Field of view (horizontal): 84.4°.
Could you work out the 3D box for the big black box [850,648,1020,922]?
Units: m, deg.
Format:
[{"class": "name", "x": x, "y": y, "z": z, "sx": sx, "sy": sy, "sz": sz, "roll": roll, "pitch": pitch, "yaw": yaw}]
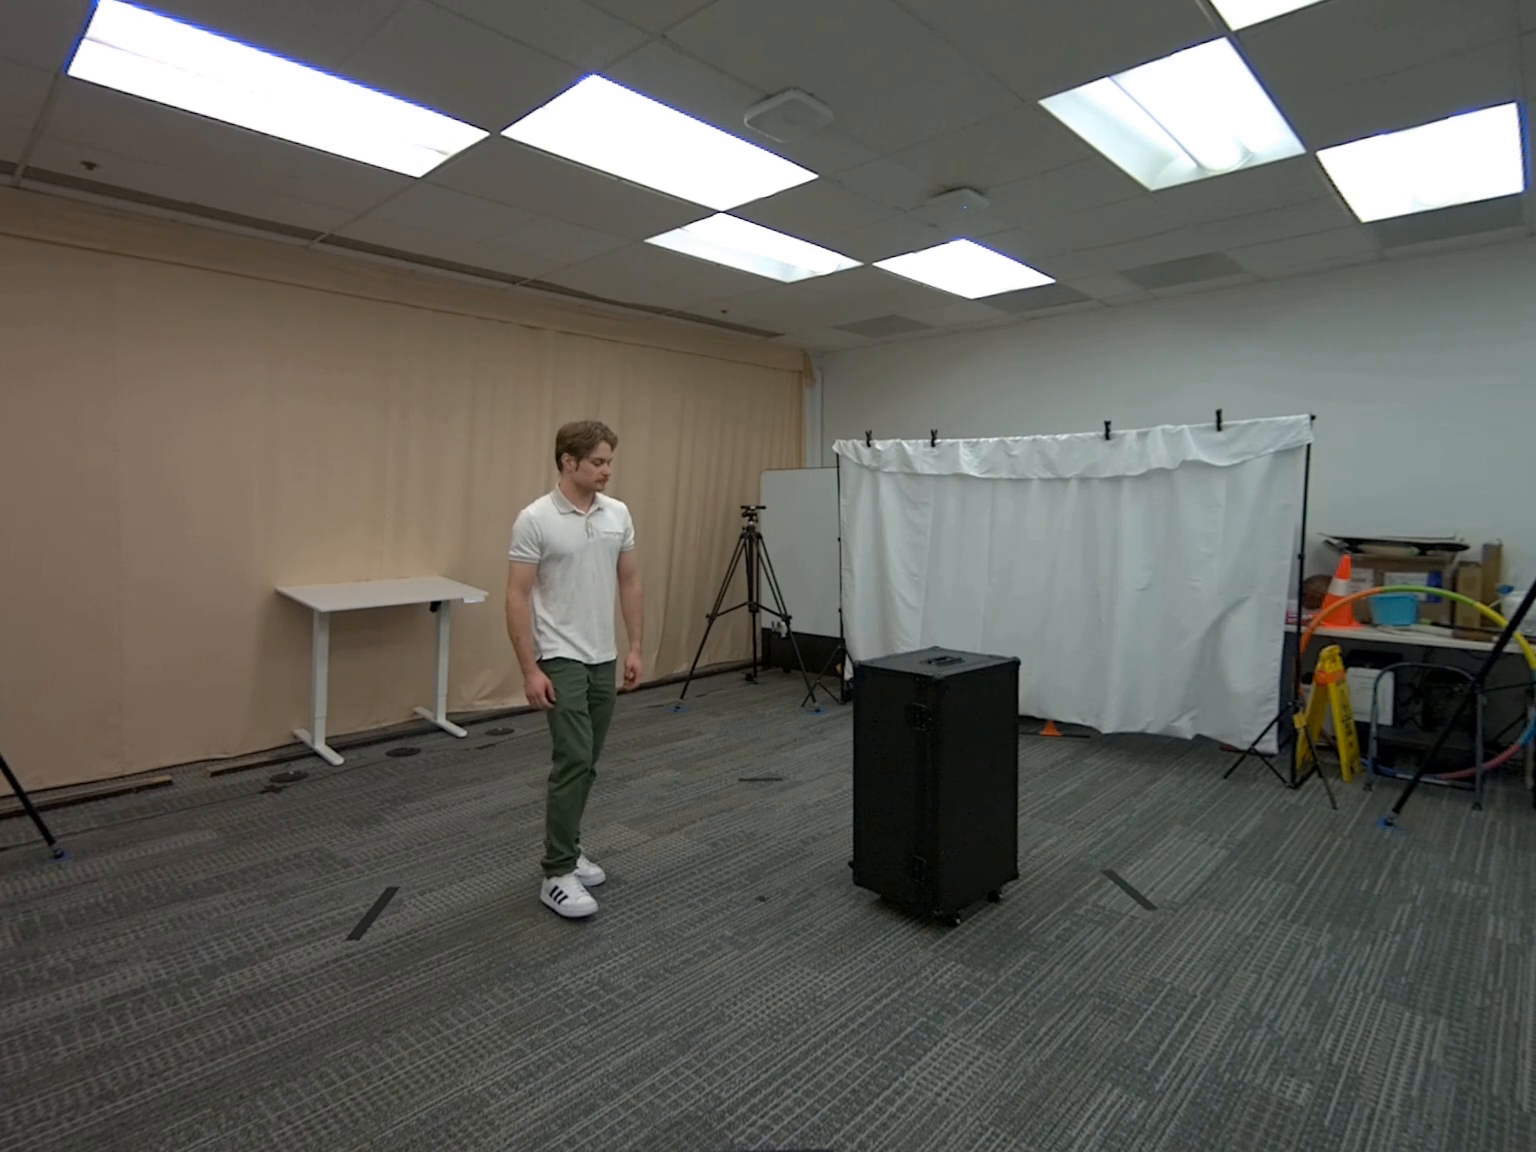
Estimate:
[{"class": "big black box", "x": 0.590, "y": 0.719, "z": 2.946, "sx": 0.505, "sy": 0.860, "sz": 0.409, "roll": -2, "pitch": 3, "yaw": -42}]
